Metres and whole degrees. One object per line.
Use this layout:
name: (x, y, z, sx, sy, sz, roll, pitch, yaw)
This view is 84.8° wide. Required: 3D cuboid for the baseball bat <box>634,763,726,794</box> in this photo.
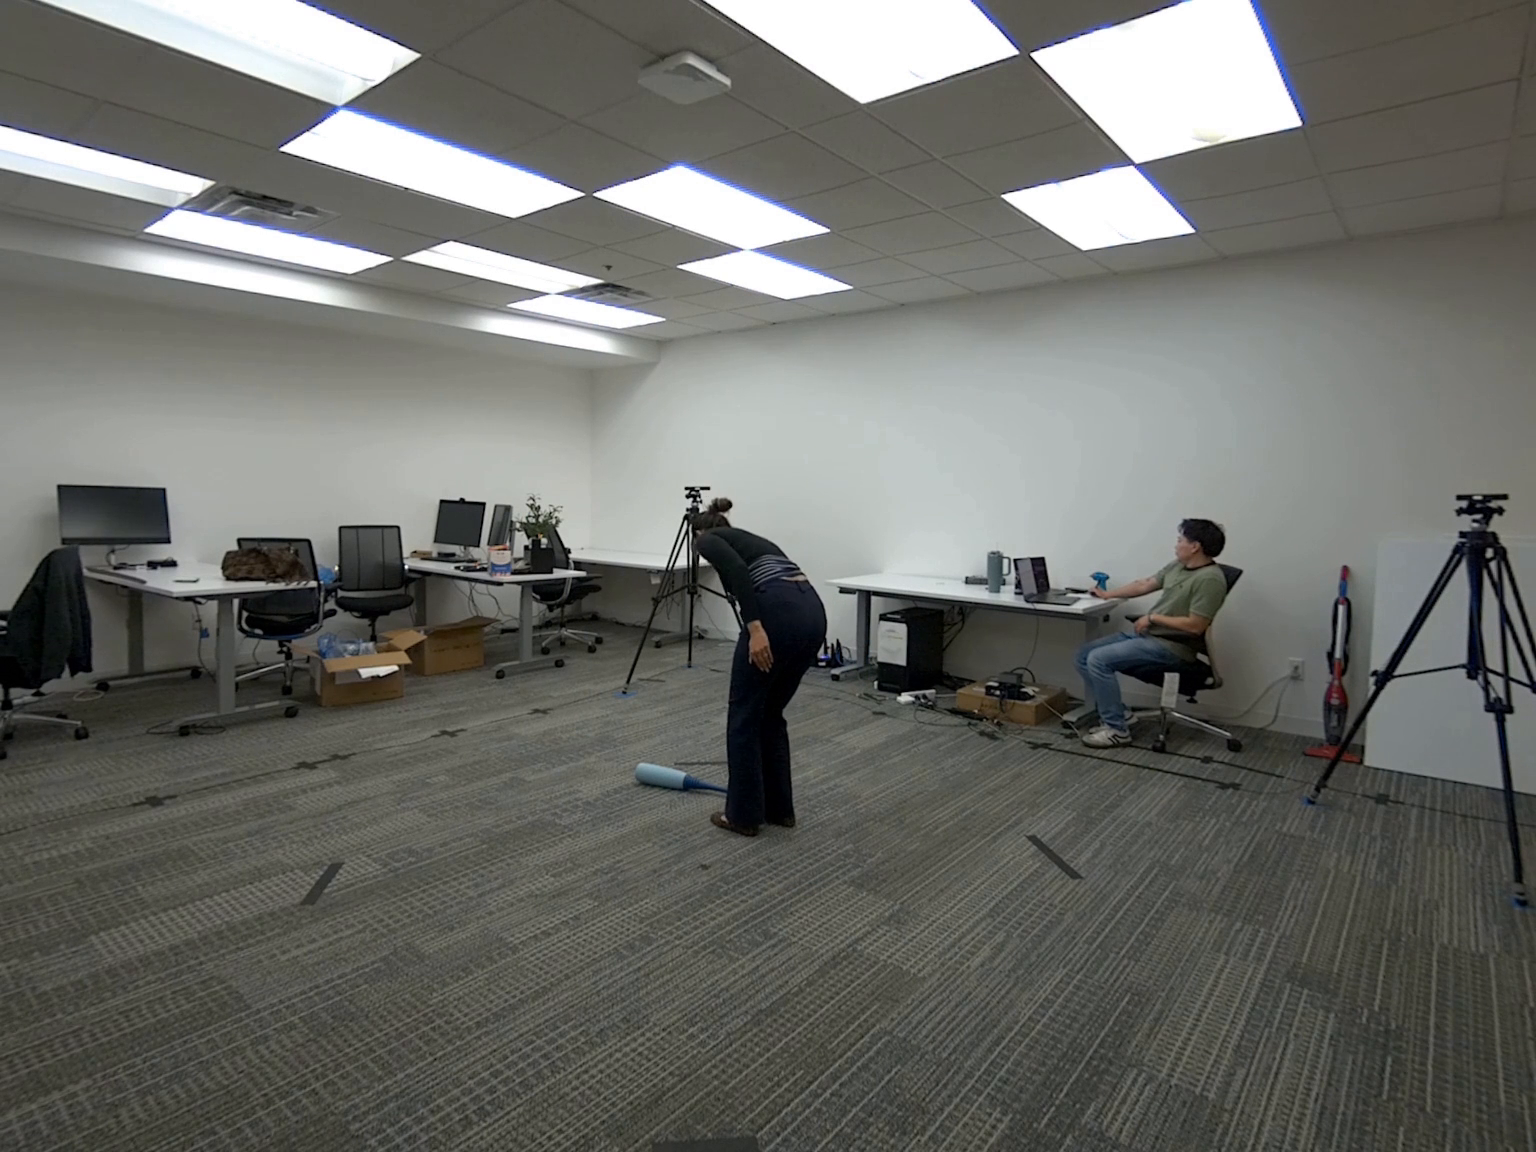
baseball bat: (-0.368, 0.945, 3.909, 0.556, 0.089, 0.087, 5, 5, 21)
